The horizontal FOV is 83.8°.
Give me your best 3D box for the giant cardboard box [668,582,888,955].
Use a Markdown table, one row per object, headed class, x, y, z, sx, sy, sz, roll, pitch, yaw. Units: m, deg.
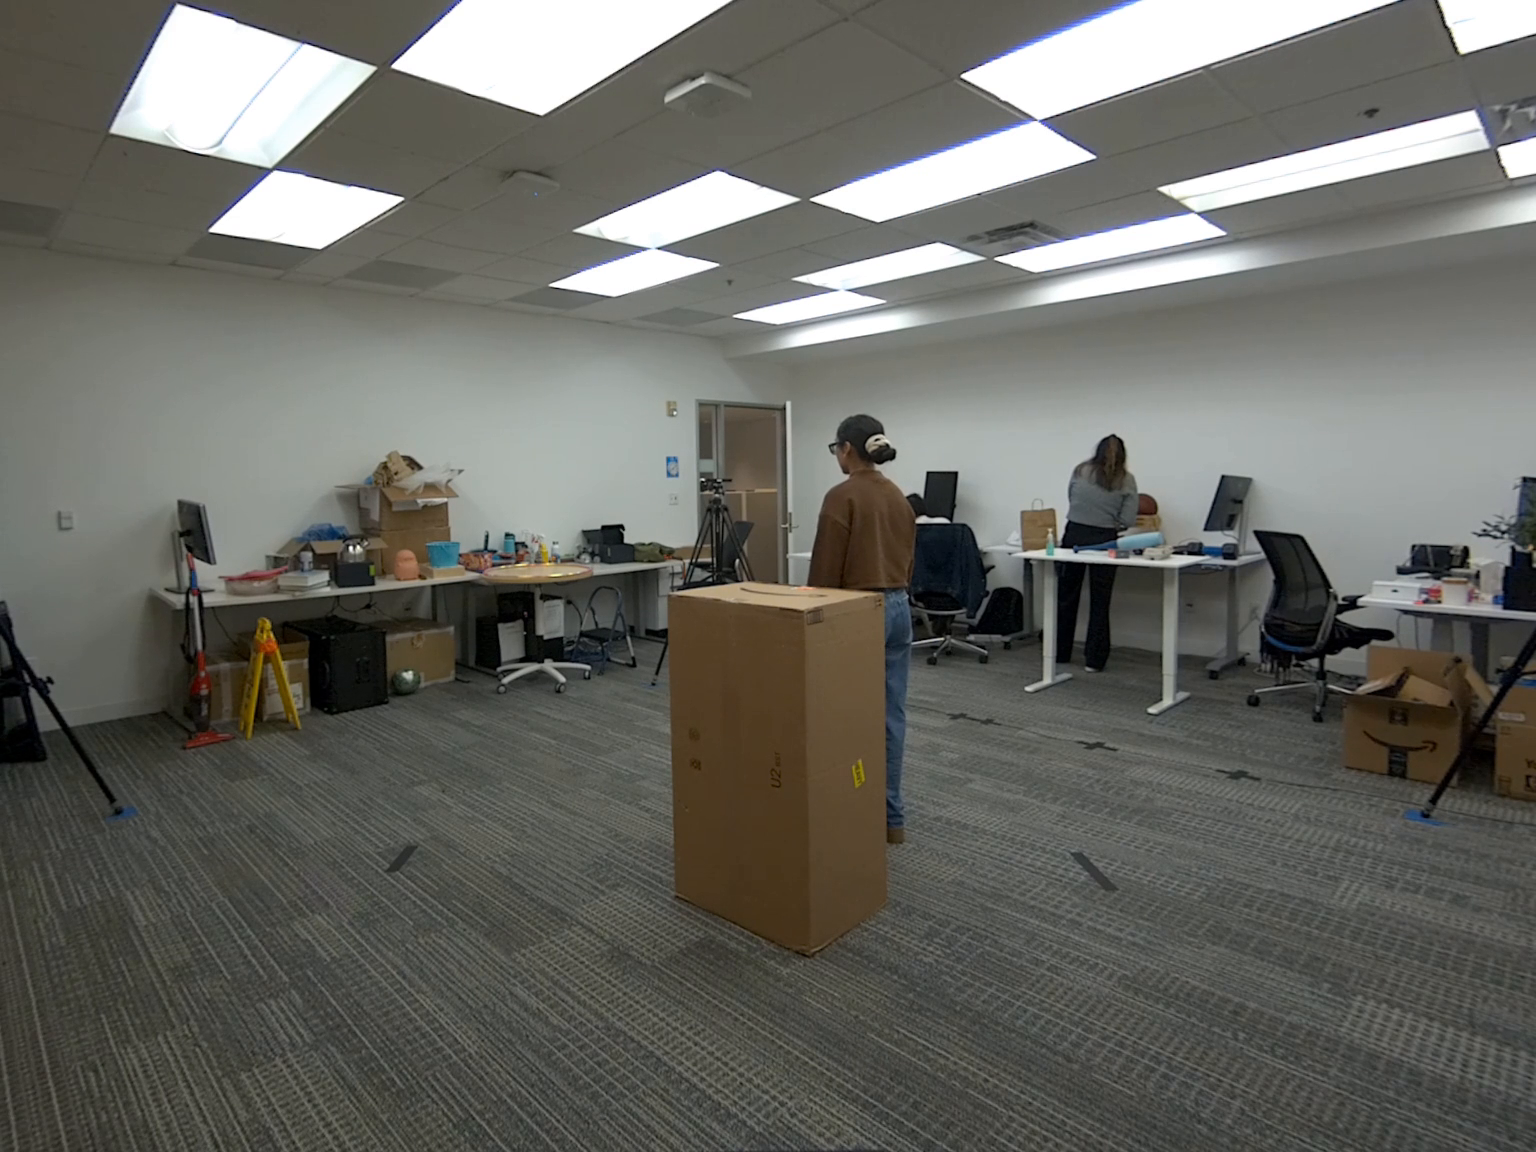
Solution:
| class | x | y | z | sx | sy | sz | roll | pitch | yaw |
| --- | --- | --- | --- | --- | --- | --- | --- | --- | --- |
| giant cardboard box | 0.030 | 0.568 | 2.808 | 0.595 | 1.022 | 0.415 | 3 | 5 | 42 |
